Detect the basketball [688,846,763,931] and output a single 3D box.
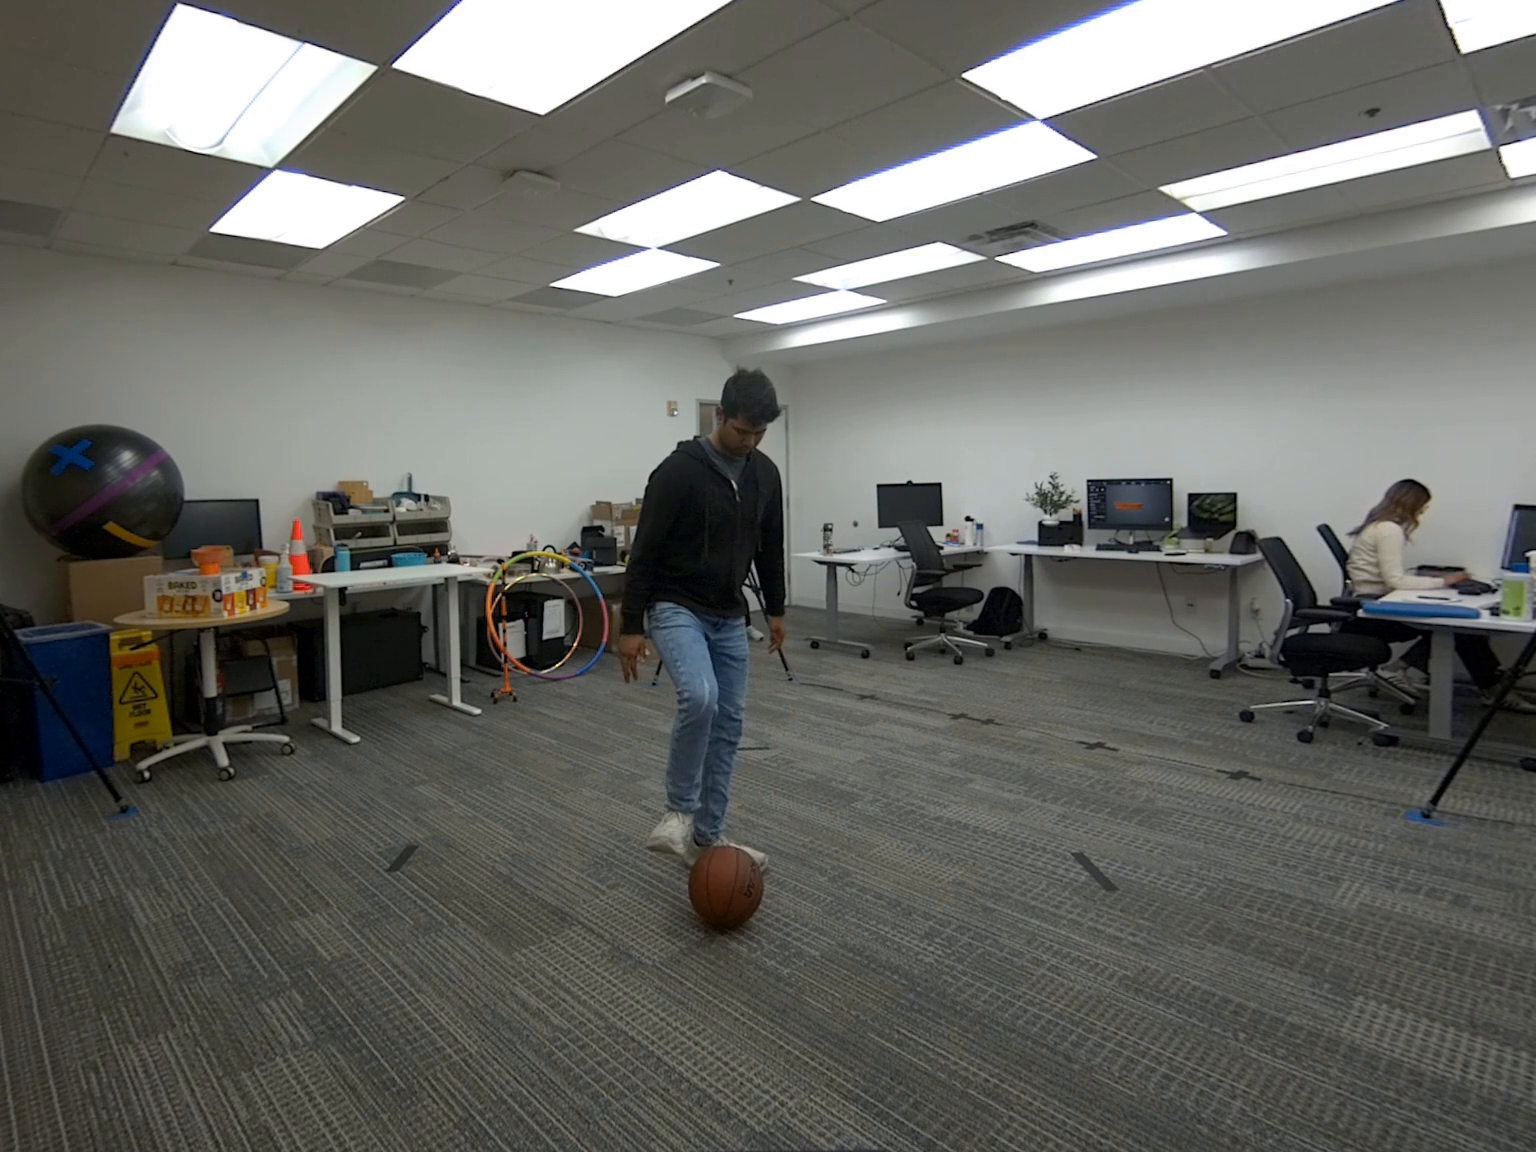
[{"bbox_3d":[-0.128,0.974,2.686,0.236,0.235,0.237,-1,5,-2],"label":"basketball"}]
